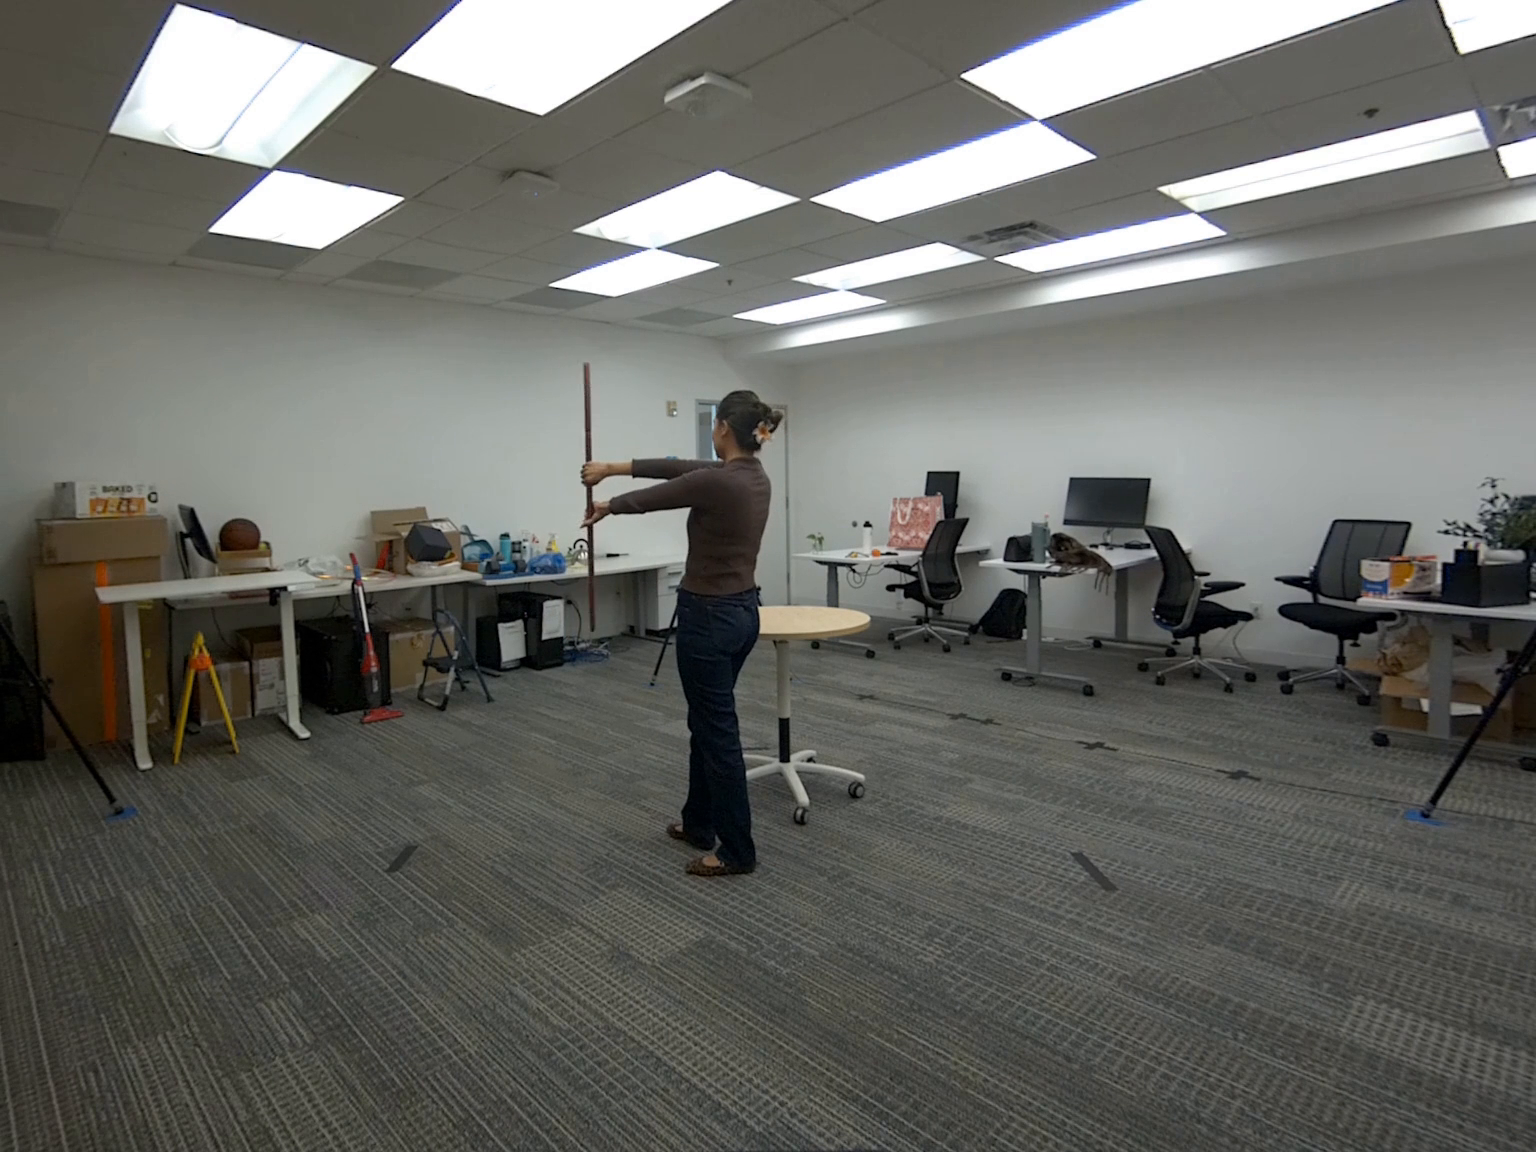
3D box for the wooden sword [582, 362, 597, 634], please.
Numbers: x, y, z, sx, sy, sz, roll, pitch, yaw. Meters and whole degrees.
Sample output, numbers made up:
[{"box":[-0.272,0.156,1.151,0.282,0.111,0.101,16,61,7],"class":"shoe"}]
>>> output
[{"box":[-0.684,-0.327,3.253,0.024,1.030,0.051,-4,-5,-3],"class":"wooden sword"}]
